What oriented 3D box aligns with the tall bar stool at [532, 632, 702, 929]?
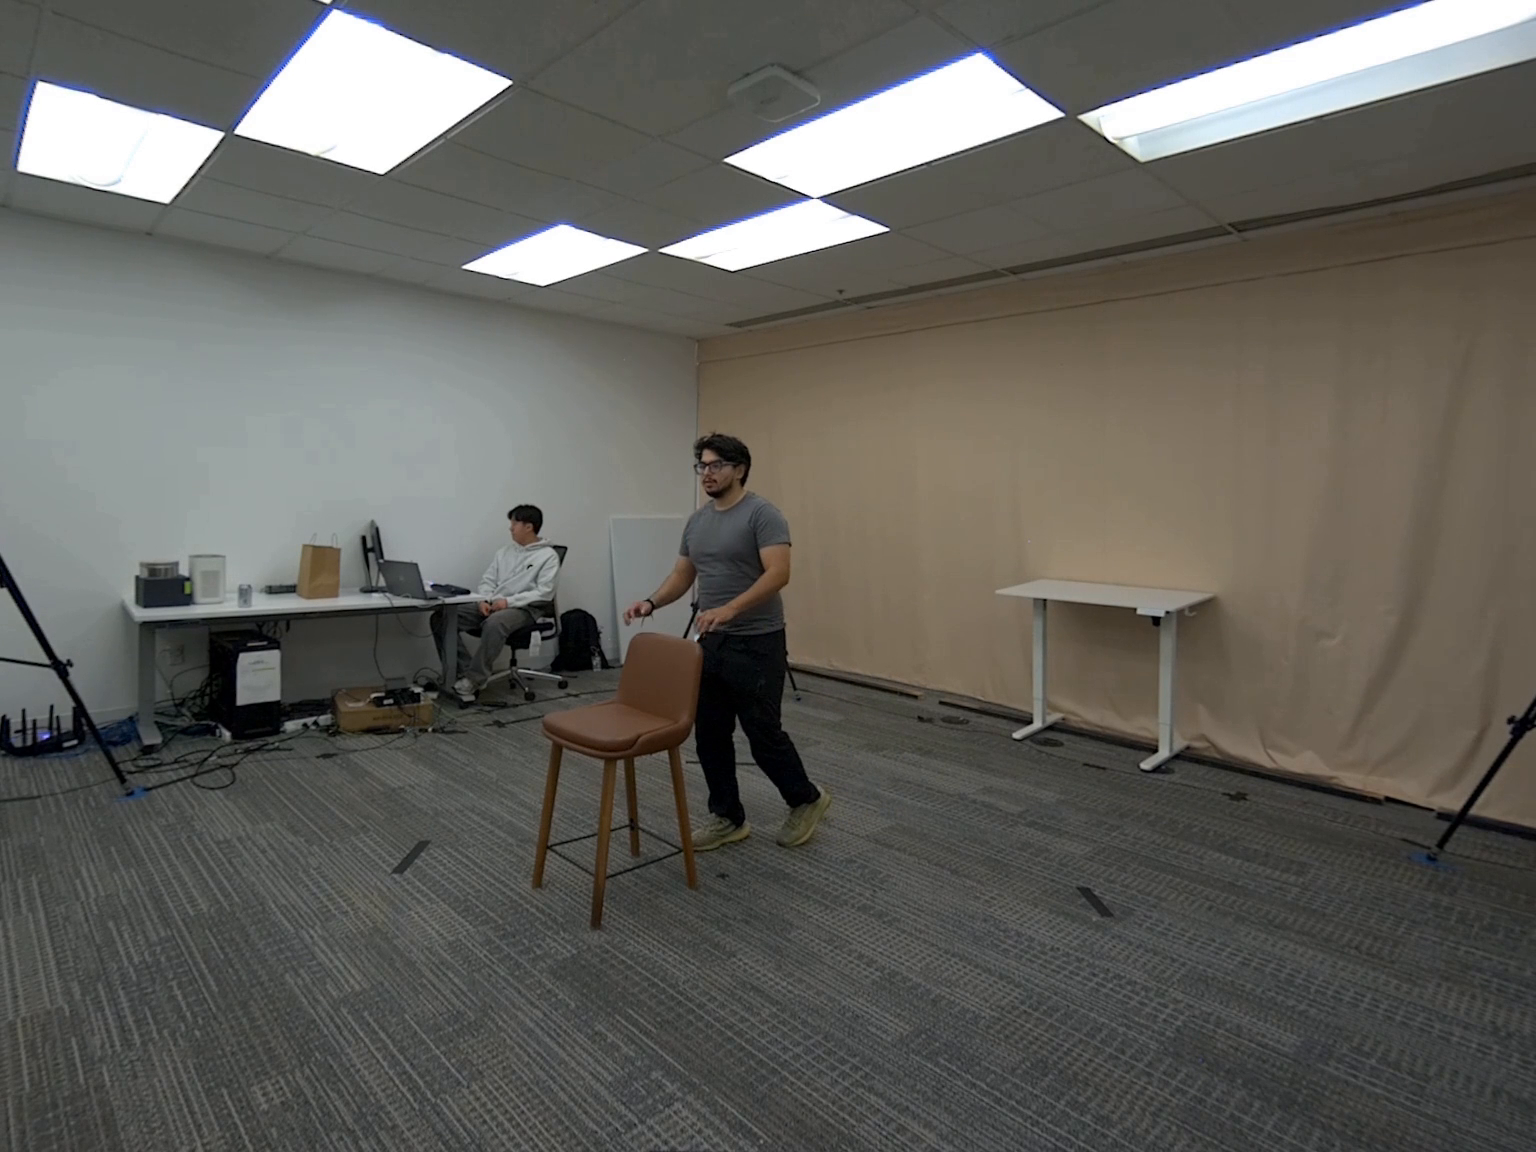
[{"bbox_3d":[-0.525,0.675,2.974,0.456,0.889,0.468,1,3,-44],"label":"tall bar stool"}]
